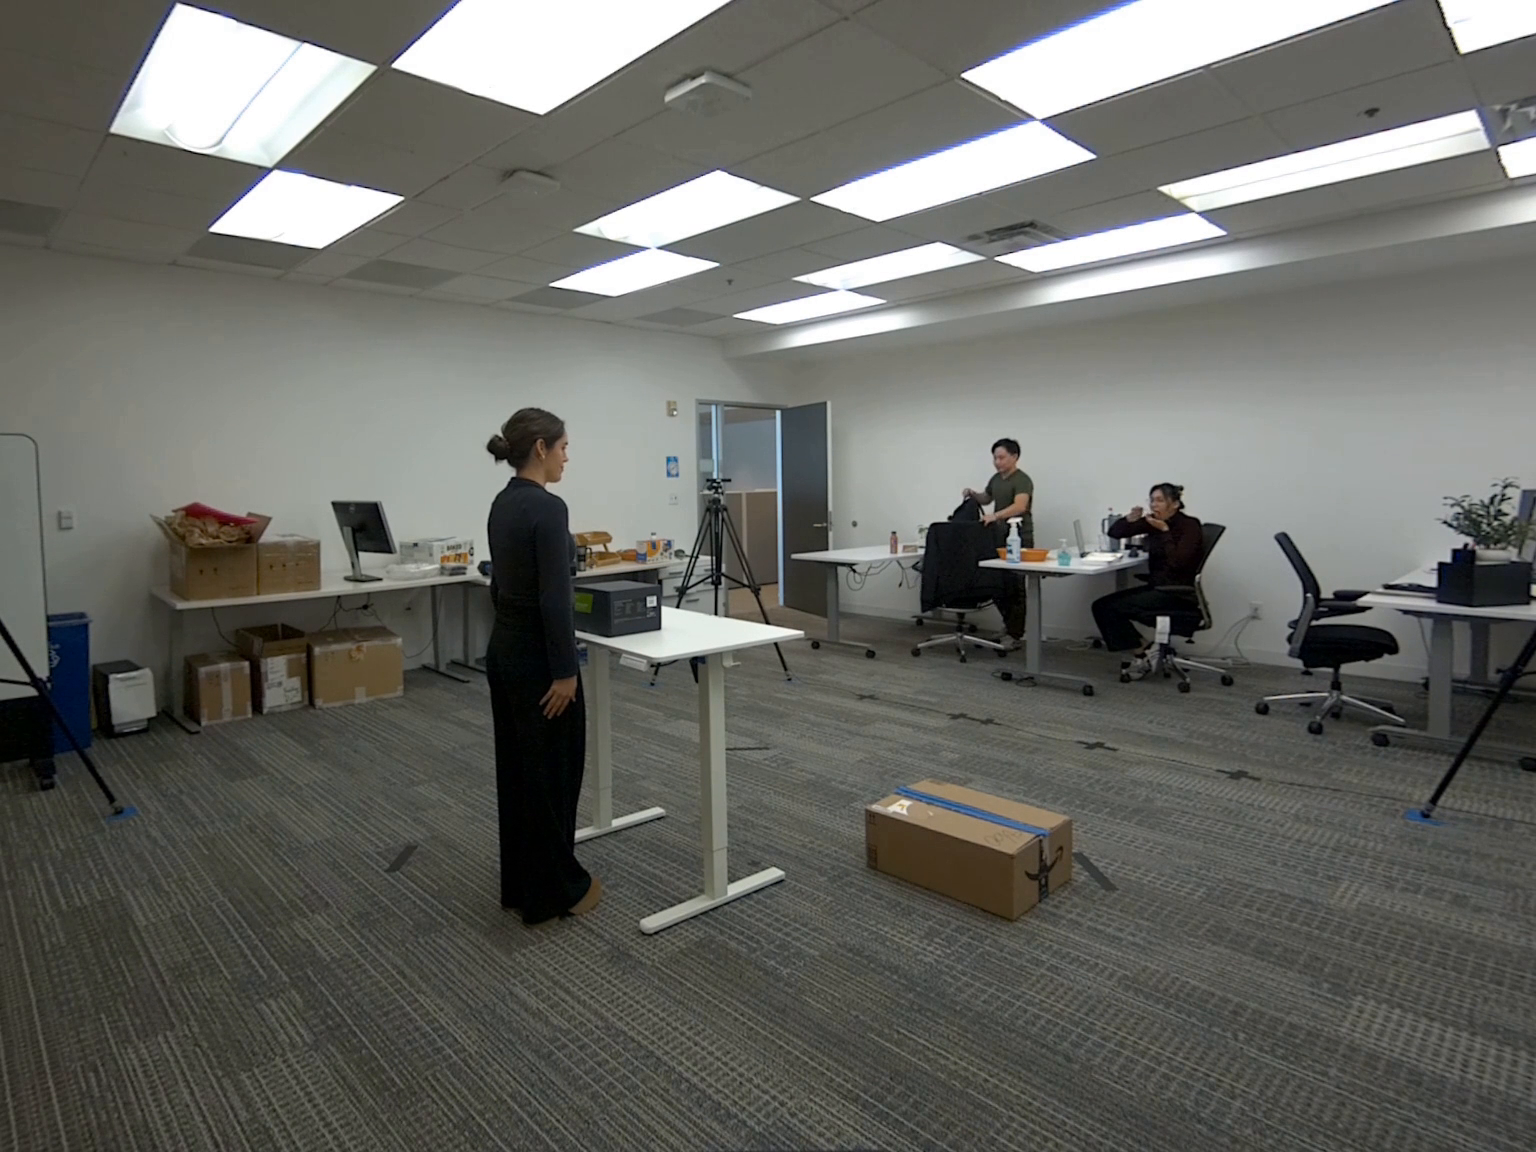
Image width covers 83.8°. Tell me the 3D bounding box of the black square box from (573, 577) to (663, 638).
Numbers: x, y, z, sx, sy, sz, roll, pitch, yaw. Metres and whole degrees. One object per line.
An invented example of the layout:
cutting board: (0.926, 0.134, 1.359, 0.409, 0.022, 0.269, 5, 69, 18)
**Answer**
black square box: (-0.528, 0.109, 2.962, 0.211, 0.155, 0.235, -6, 7, -43)
